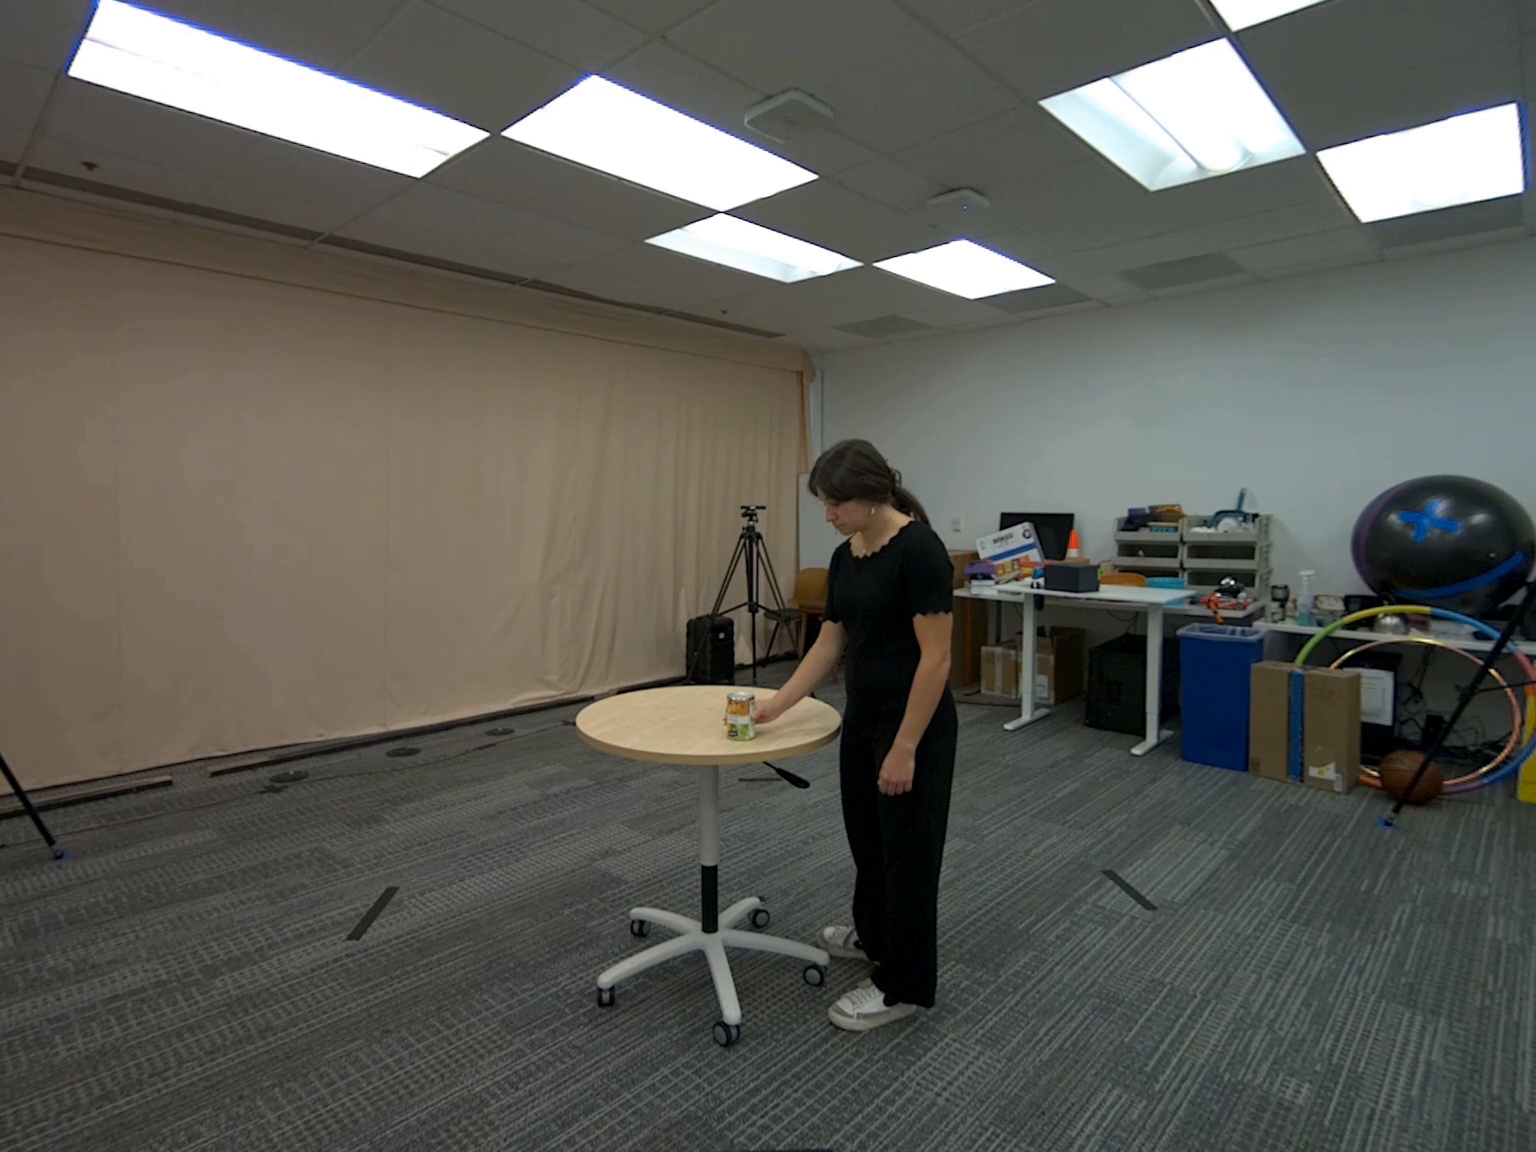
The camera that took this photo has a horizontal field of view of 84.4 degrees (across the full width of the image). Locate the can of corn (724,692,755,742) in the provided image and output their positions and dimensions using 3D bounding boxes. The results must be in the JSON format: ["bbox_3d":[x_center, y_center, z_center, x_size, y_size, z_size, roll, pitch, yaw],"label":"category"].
[{"bbox_3d":[-0.068,0.371,2.229,0.074,0.111,0.074,0,3,-2],"label":"can of corn"}]
